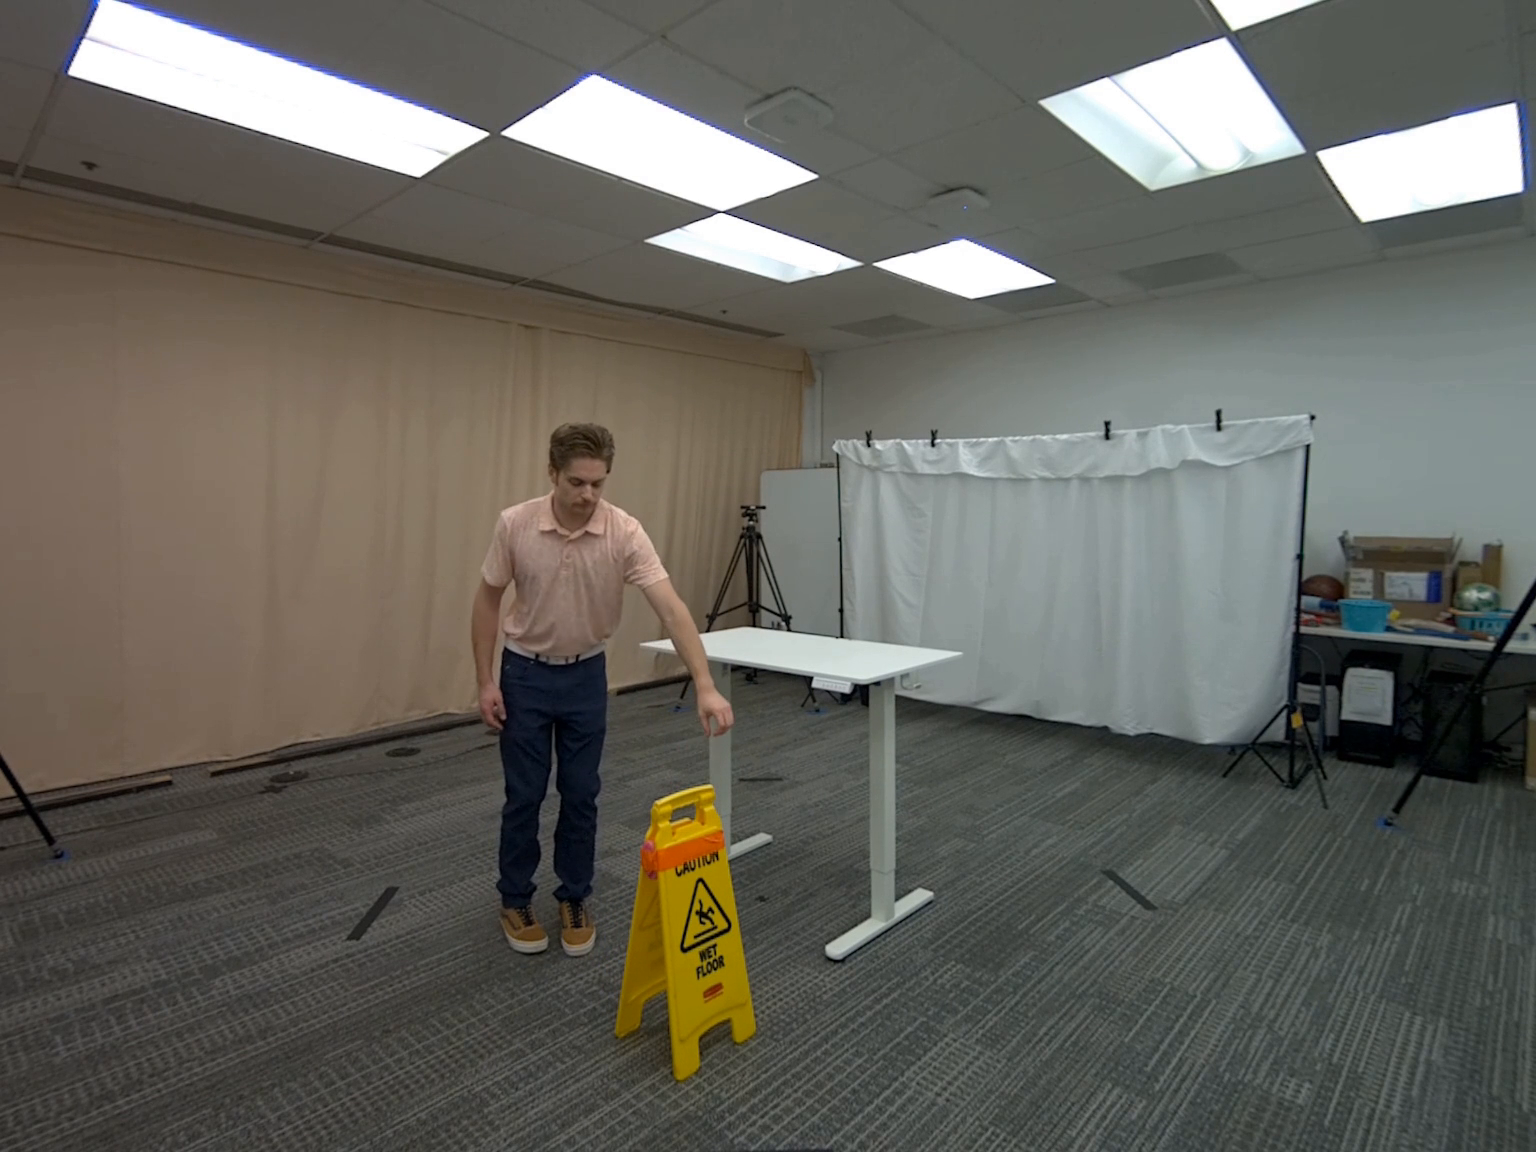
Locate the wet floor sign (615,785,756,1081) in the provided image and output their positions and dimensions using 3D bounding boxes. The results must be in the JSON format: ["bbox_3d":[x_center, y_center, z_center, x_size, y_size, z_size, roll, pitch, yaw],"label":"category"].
[{"bbox_3d":[-0.222,0.889,2.199,0.299,0.645,0.273,2,3,43],"label":"wet floor sign"}]
